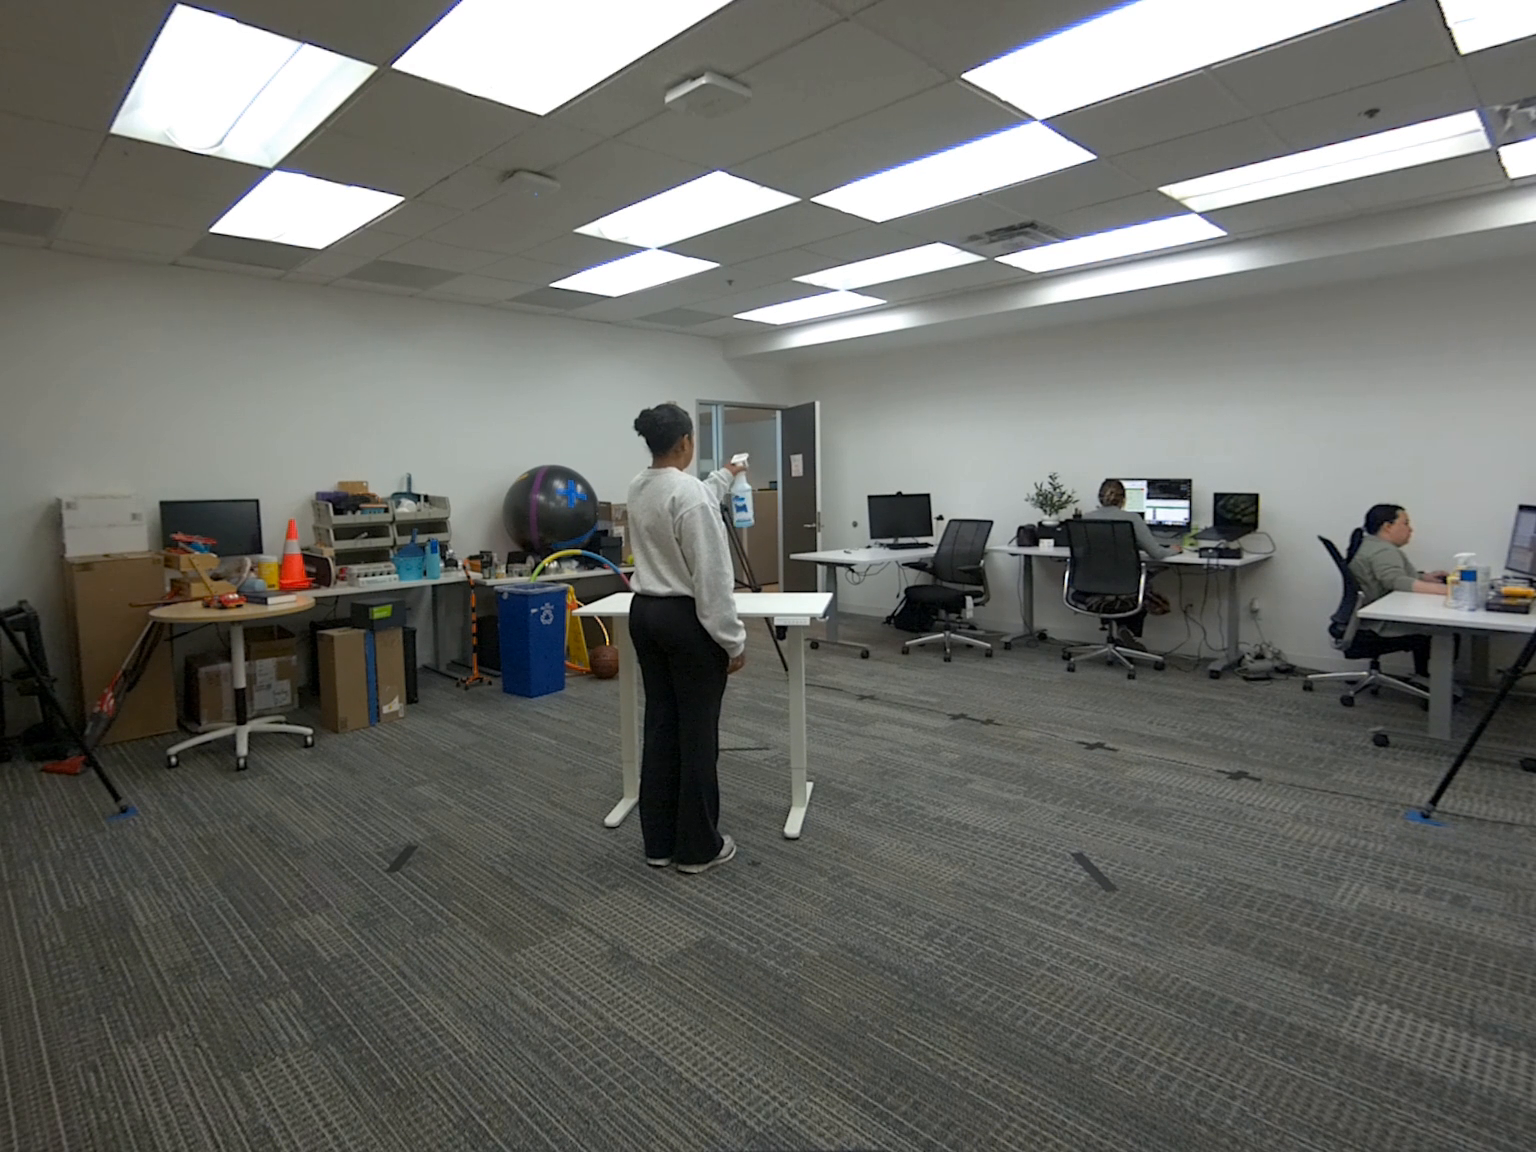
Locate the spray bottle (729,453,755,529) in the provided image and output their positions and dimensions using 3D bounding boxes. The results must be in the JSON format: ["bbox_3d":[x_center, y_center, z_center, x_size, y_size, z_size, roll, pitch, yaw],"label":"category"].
[{"bbox_3d":[-0.119,-0.348,3.543,0.089,0.295,0.089,-5,8,-17],"label":"spray bottle"}]
